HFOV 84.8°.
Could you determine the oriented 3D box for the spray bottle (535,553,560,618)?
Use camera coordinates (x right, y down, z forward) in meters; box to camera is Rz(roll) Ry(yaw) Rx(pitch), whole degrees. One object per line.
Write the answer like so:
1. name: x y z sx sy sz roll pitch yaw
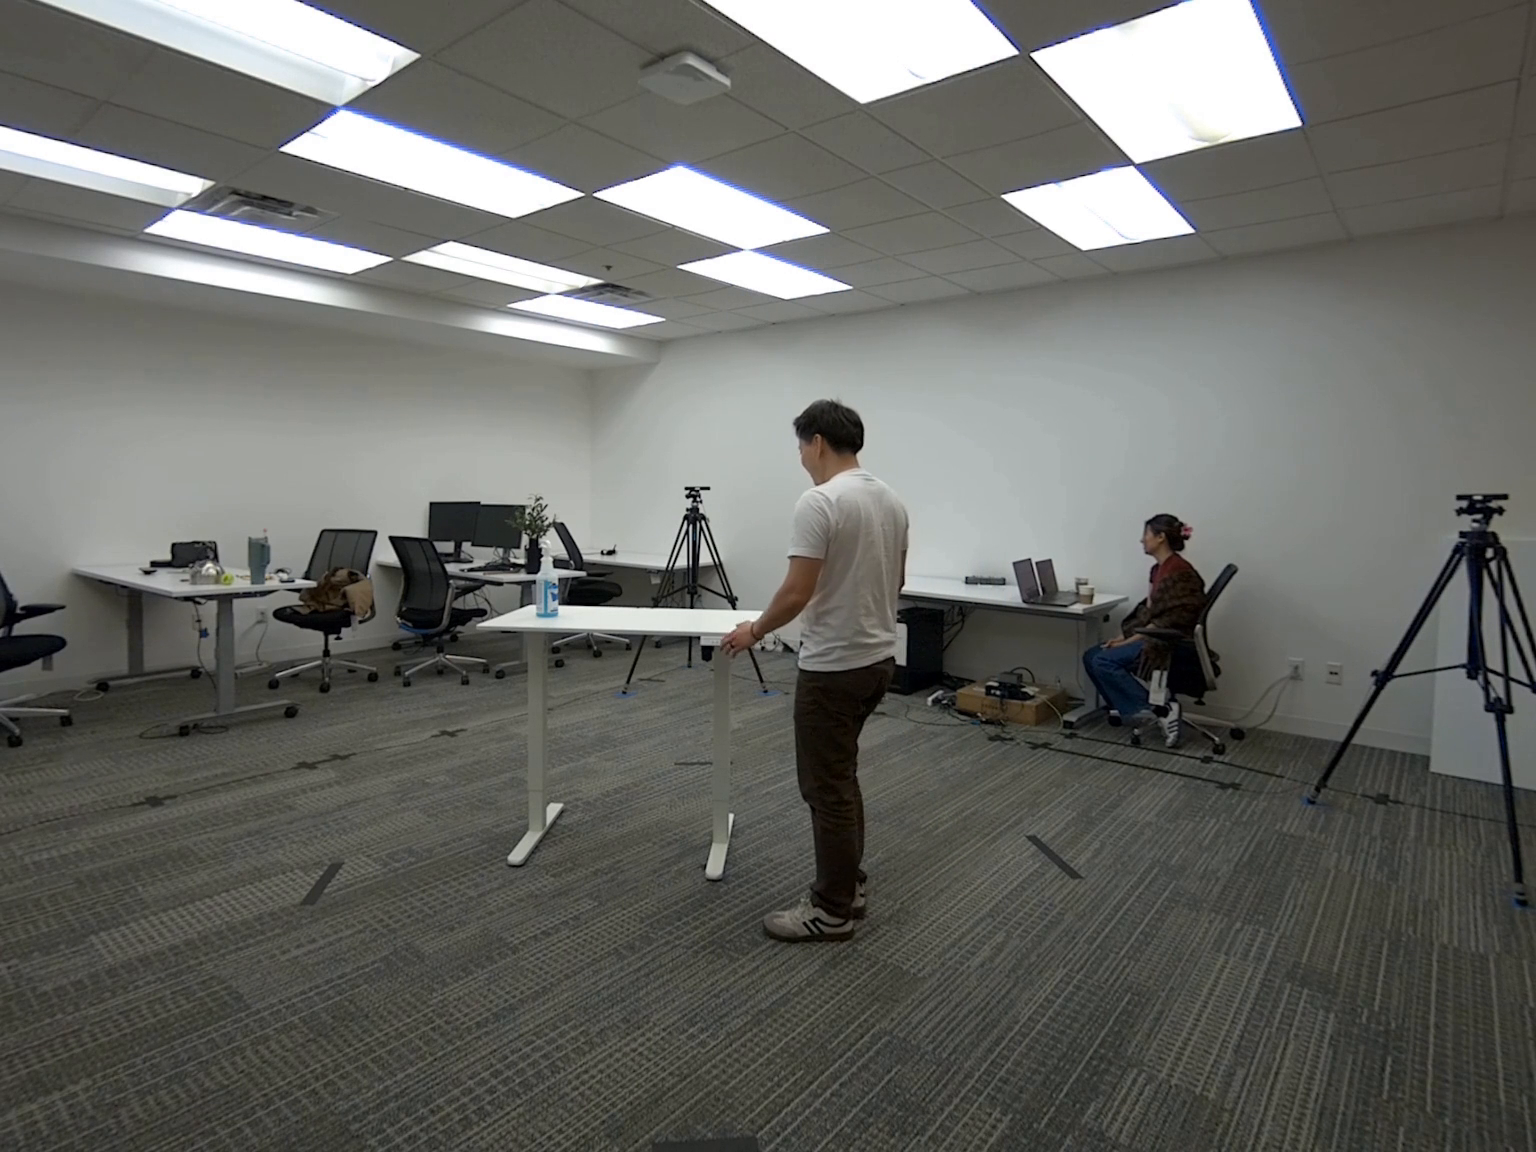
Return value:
1. spray bottle: -0.878 0.008 3.329 0.086 0.297 0.091 0 2 -7
